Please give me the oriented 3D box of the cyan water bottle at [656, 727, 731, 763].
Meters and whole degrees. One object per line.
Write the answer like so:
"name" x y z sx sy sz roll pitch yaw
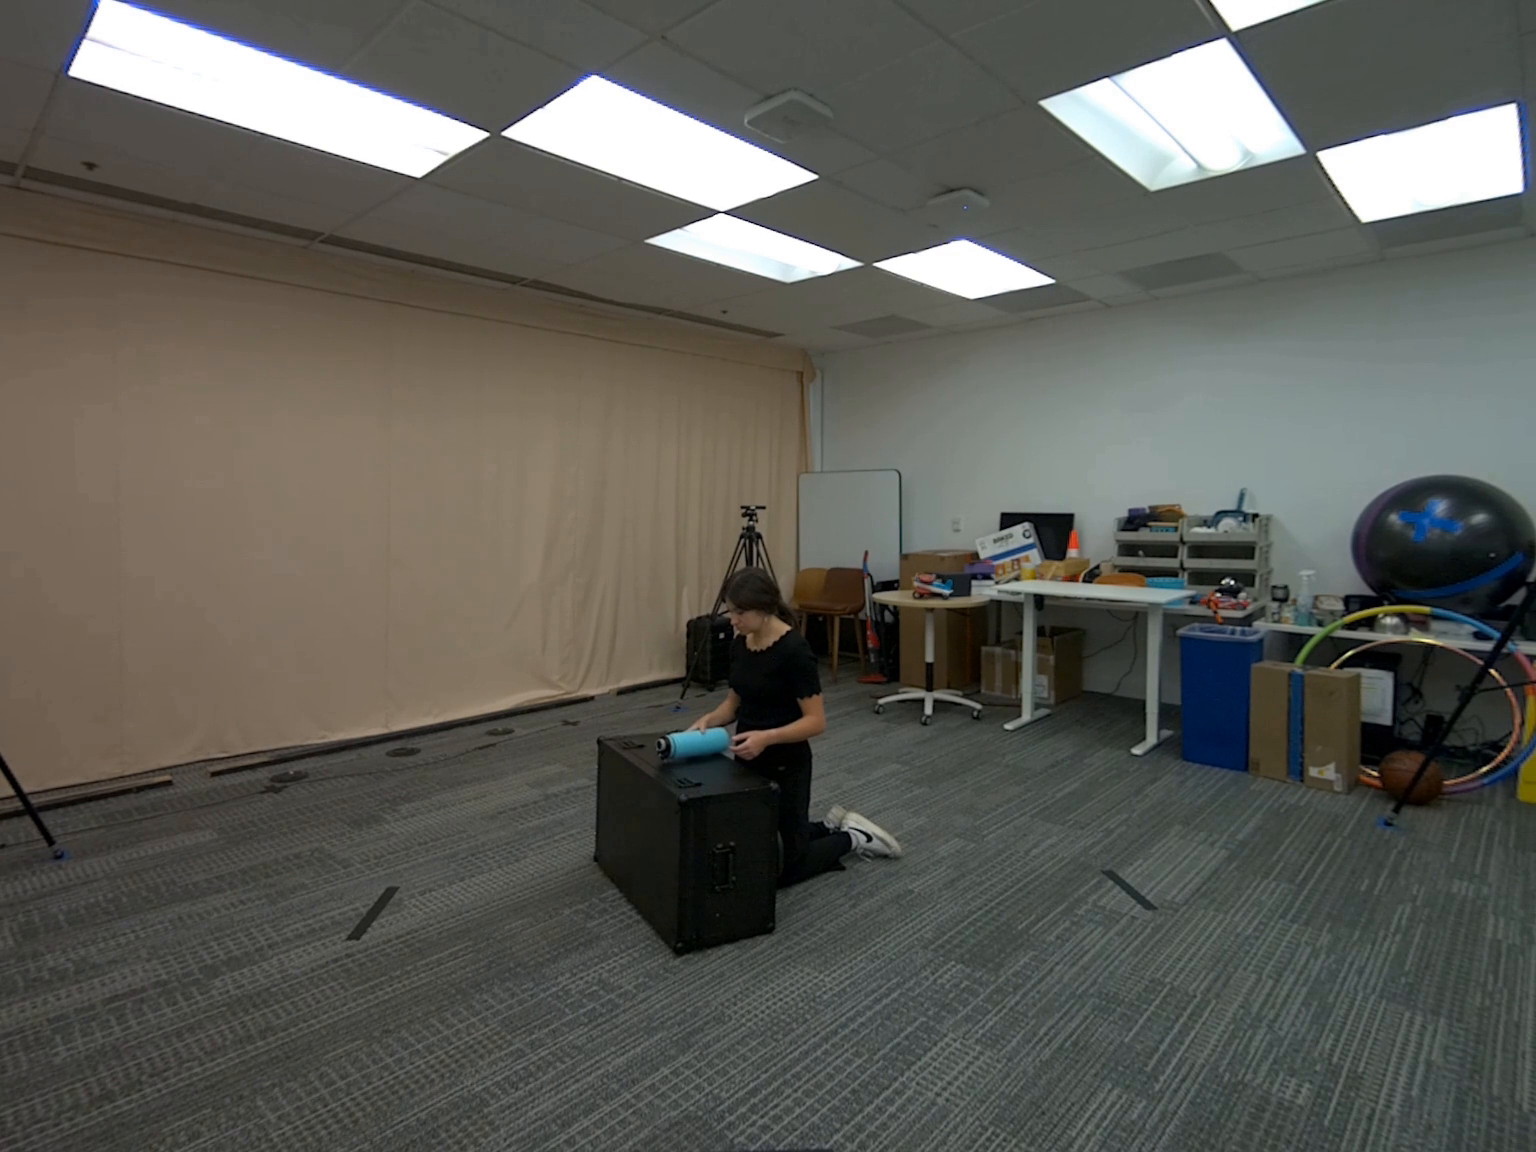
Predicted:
"cyan water bottle" -0.281 0.605 3.012 0.275 0.092 0.095 3 1 -32
